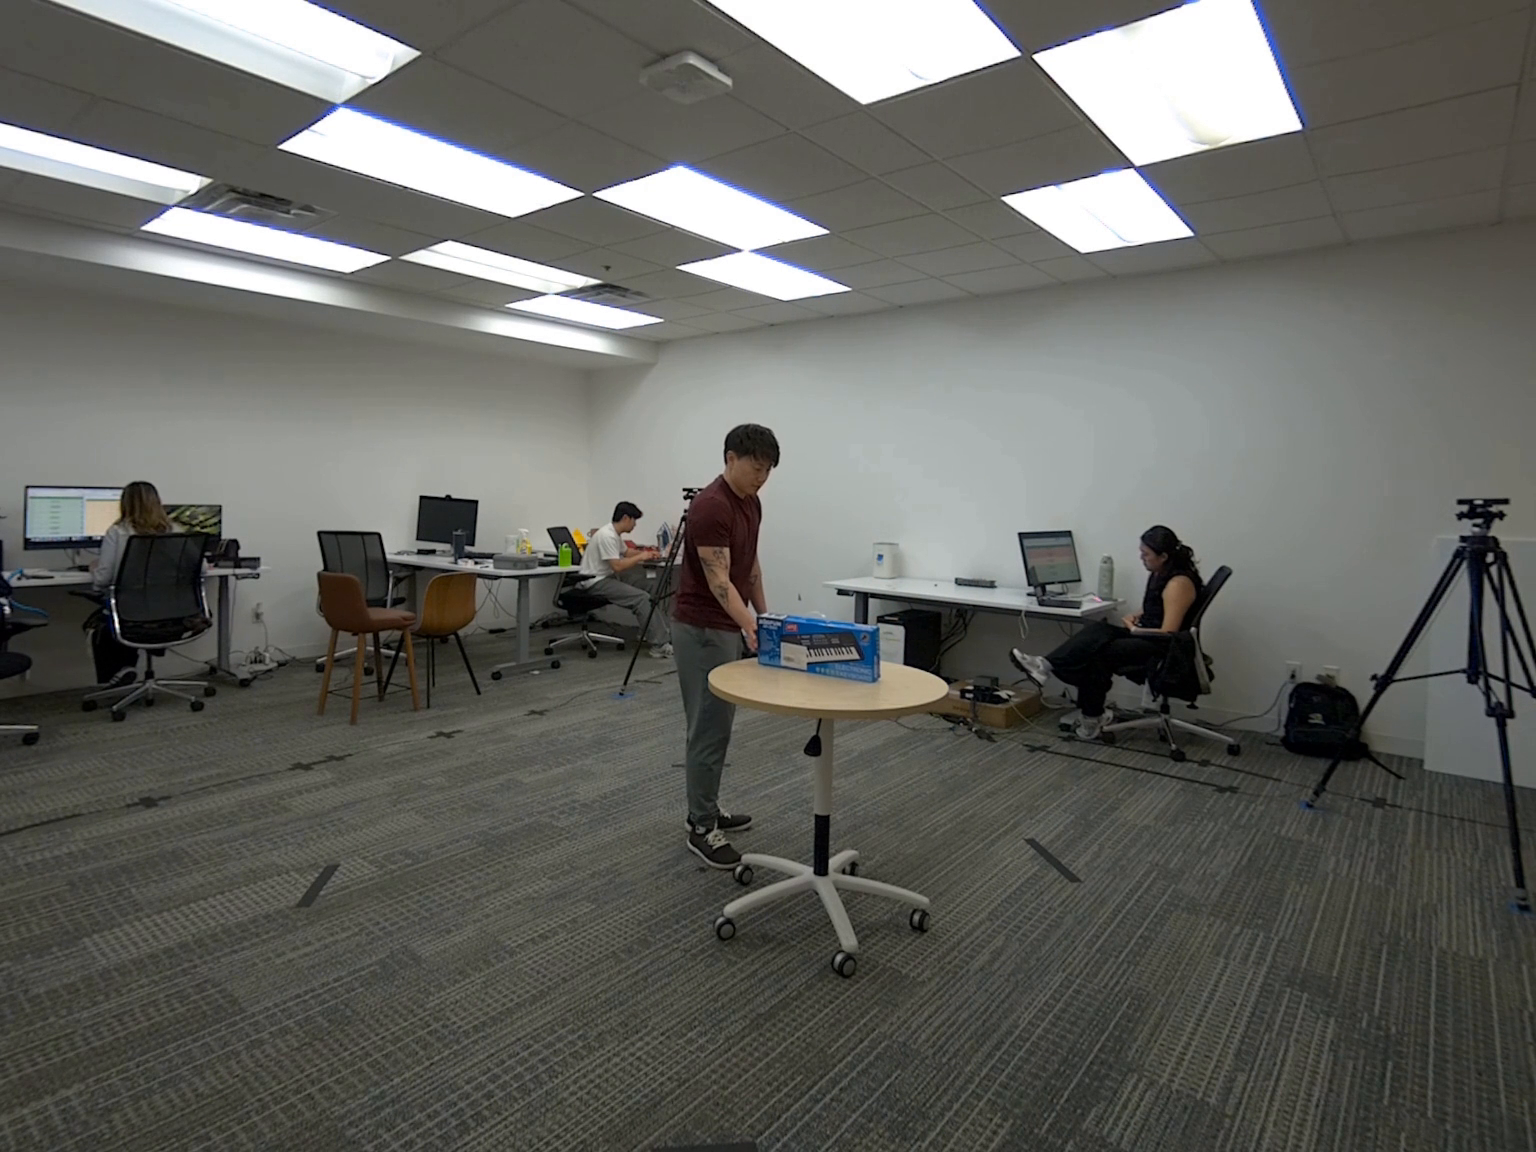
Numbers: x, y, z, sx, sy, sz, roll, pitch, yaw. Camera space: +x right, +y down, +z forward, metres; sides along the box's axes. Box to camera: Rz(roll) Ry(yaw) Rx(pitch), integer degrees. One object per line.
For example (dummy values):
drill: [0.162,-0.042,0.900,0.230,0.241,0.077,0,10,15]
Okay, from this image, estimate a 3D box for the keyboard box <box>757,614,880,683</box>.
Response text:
keyboard box: [0.151,0.235,2.841,0.451,0.174,0.058,5,11,34]
